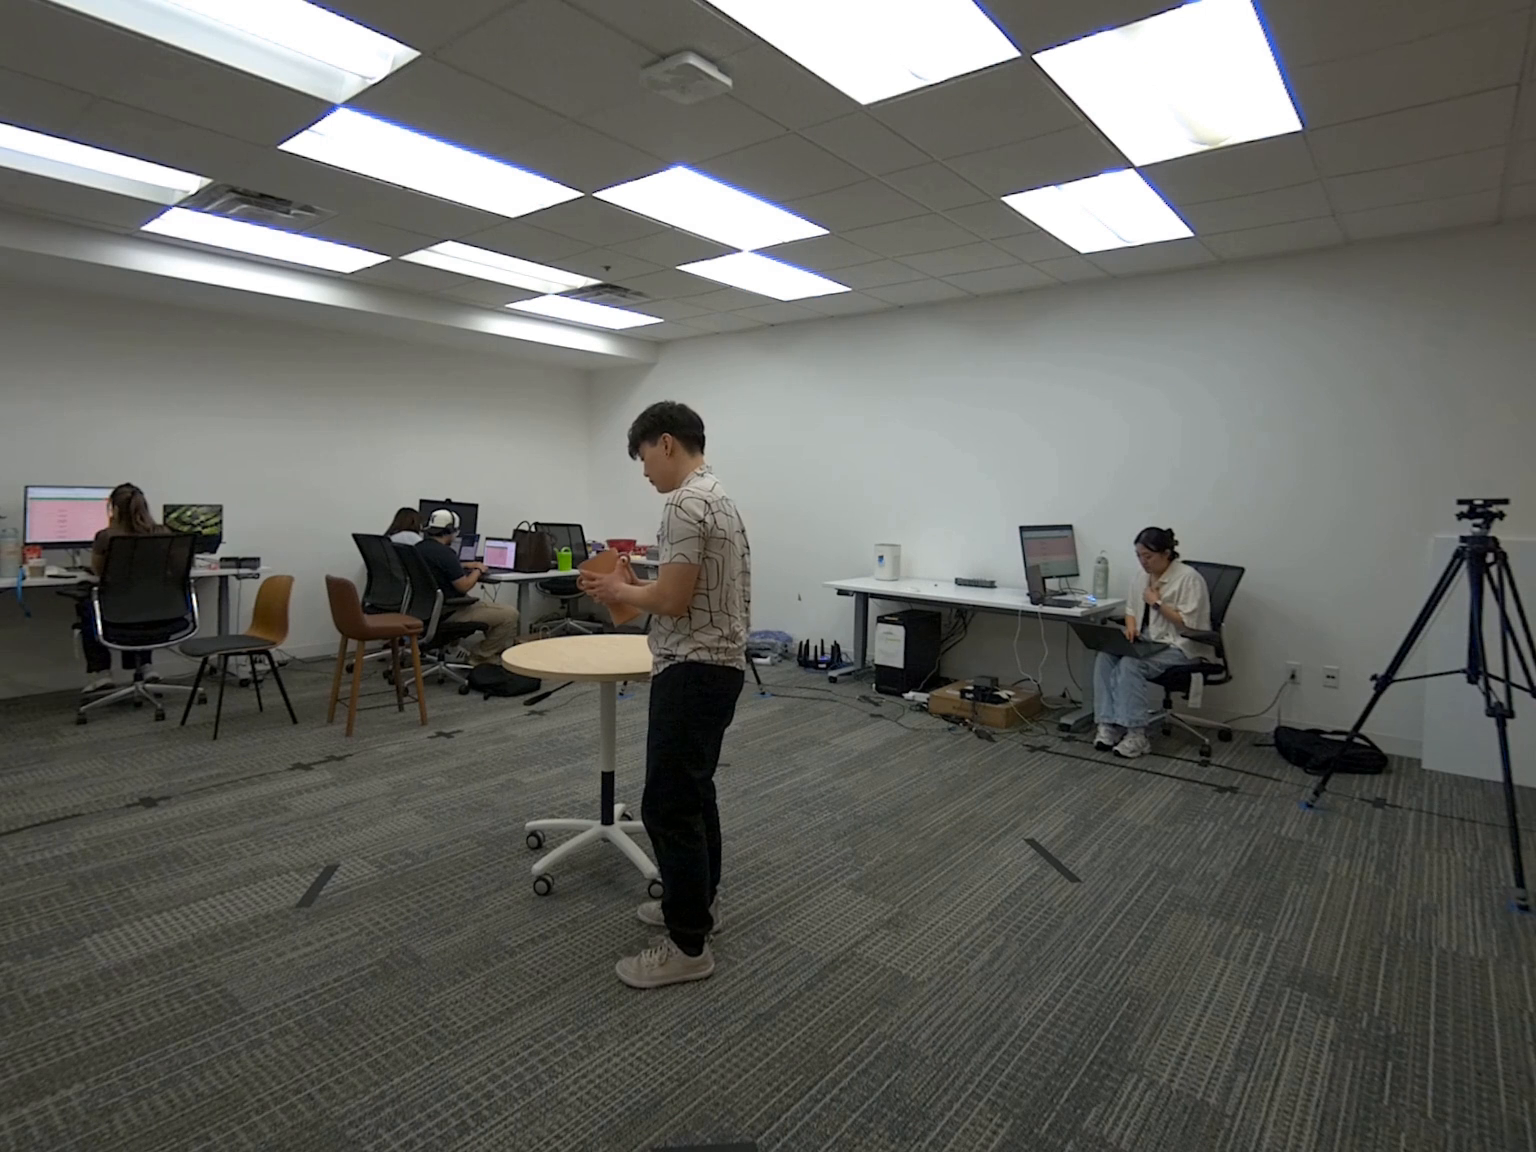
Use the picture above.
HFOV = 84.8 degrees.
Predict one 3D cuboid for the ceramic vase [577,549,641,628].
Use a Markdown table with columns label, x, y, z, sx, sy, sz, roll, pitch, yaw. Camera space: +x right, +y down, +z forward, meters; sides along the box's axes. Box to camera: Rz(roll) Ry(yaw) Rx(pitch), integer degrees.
| label | x | y | z | sx | sy | sz | roll | pitch | yaw |
| --- | --- | --- | --- | --- | --- | --- | --- | --- | --- |
| ceramic vase | -0.496 | 0.031 | 2.630 | 0.132 | 0.222 | 0.160 | -25 | -7 | -39 |
